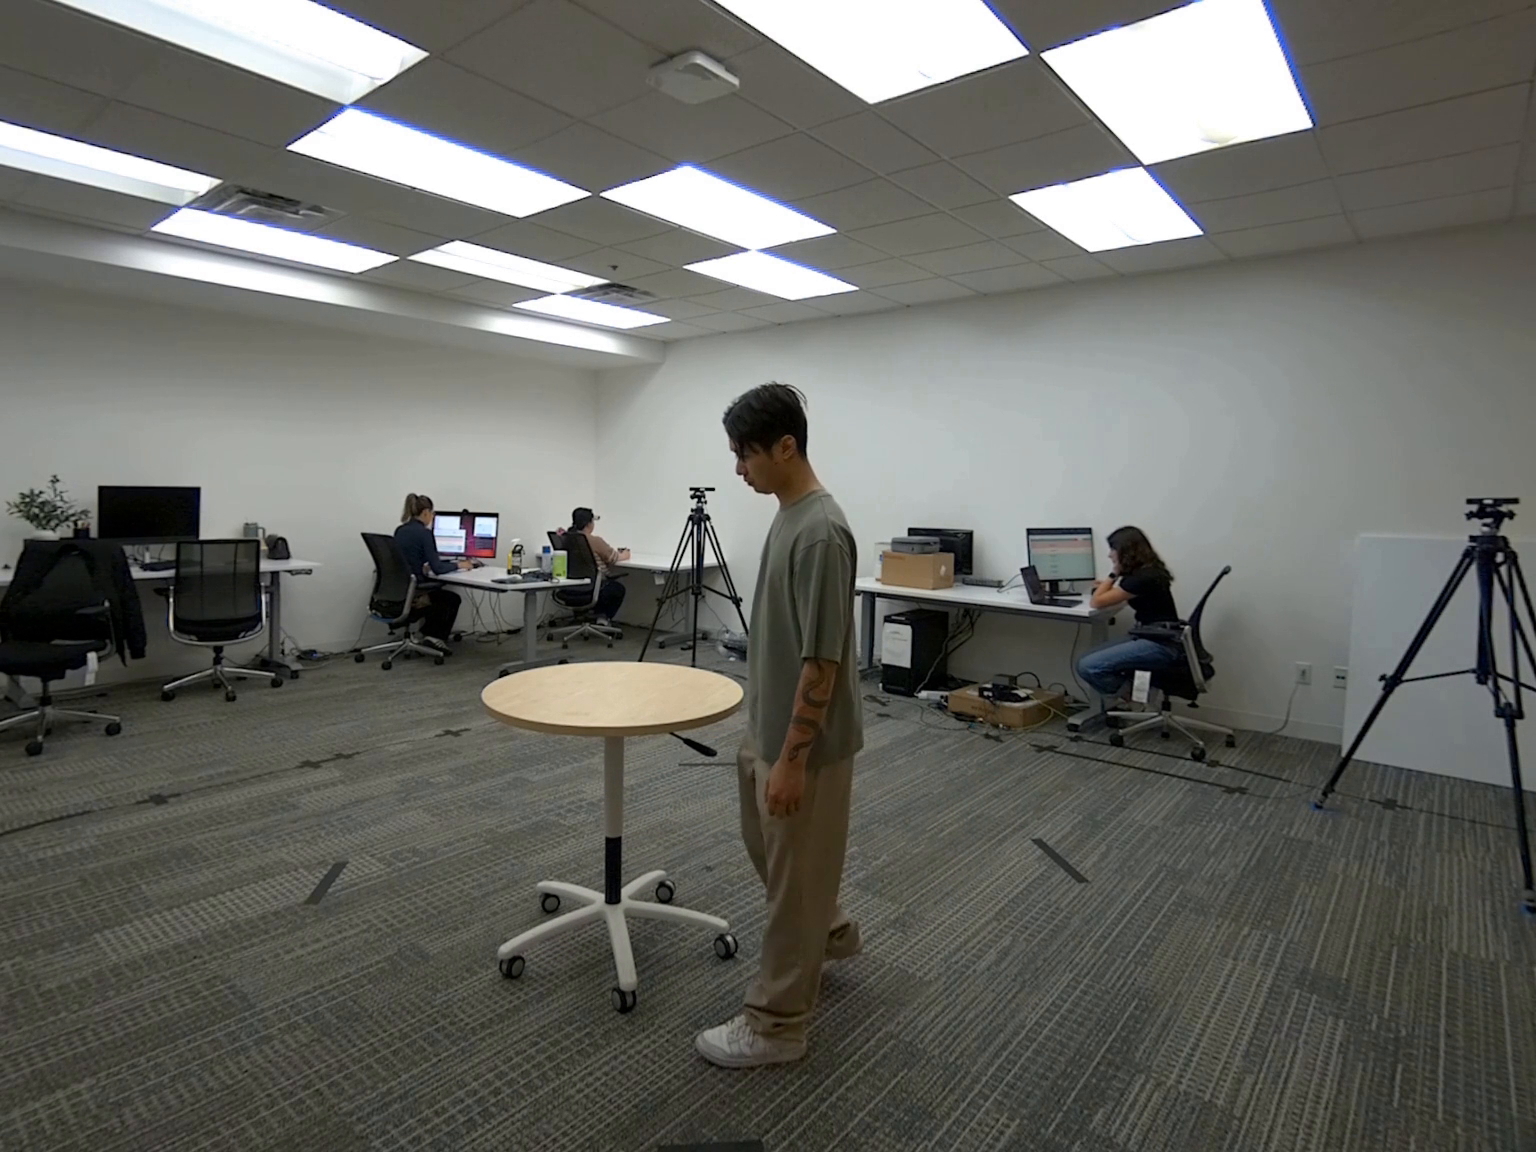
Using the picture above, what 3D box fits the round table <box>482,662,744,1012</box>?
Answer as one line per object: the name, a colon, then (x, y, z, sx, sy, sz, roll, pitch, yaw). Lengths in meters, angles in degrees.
round table: (-0.454, 0.722, 2.545, 0.784, 0.784, 0.789, 1, 5, -2)
